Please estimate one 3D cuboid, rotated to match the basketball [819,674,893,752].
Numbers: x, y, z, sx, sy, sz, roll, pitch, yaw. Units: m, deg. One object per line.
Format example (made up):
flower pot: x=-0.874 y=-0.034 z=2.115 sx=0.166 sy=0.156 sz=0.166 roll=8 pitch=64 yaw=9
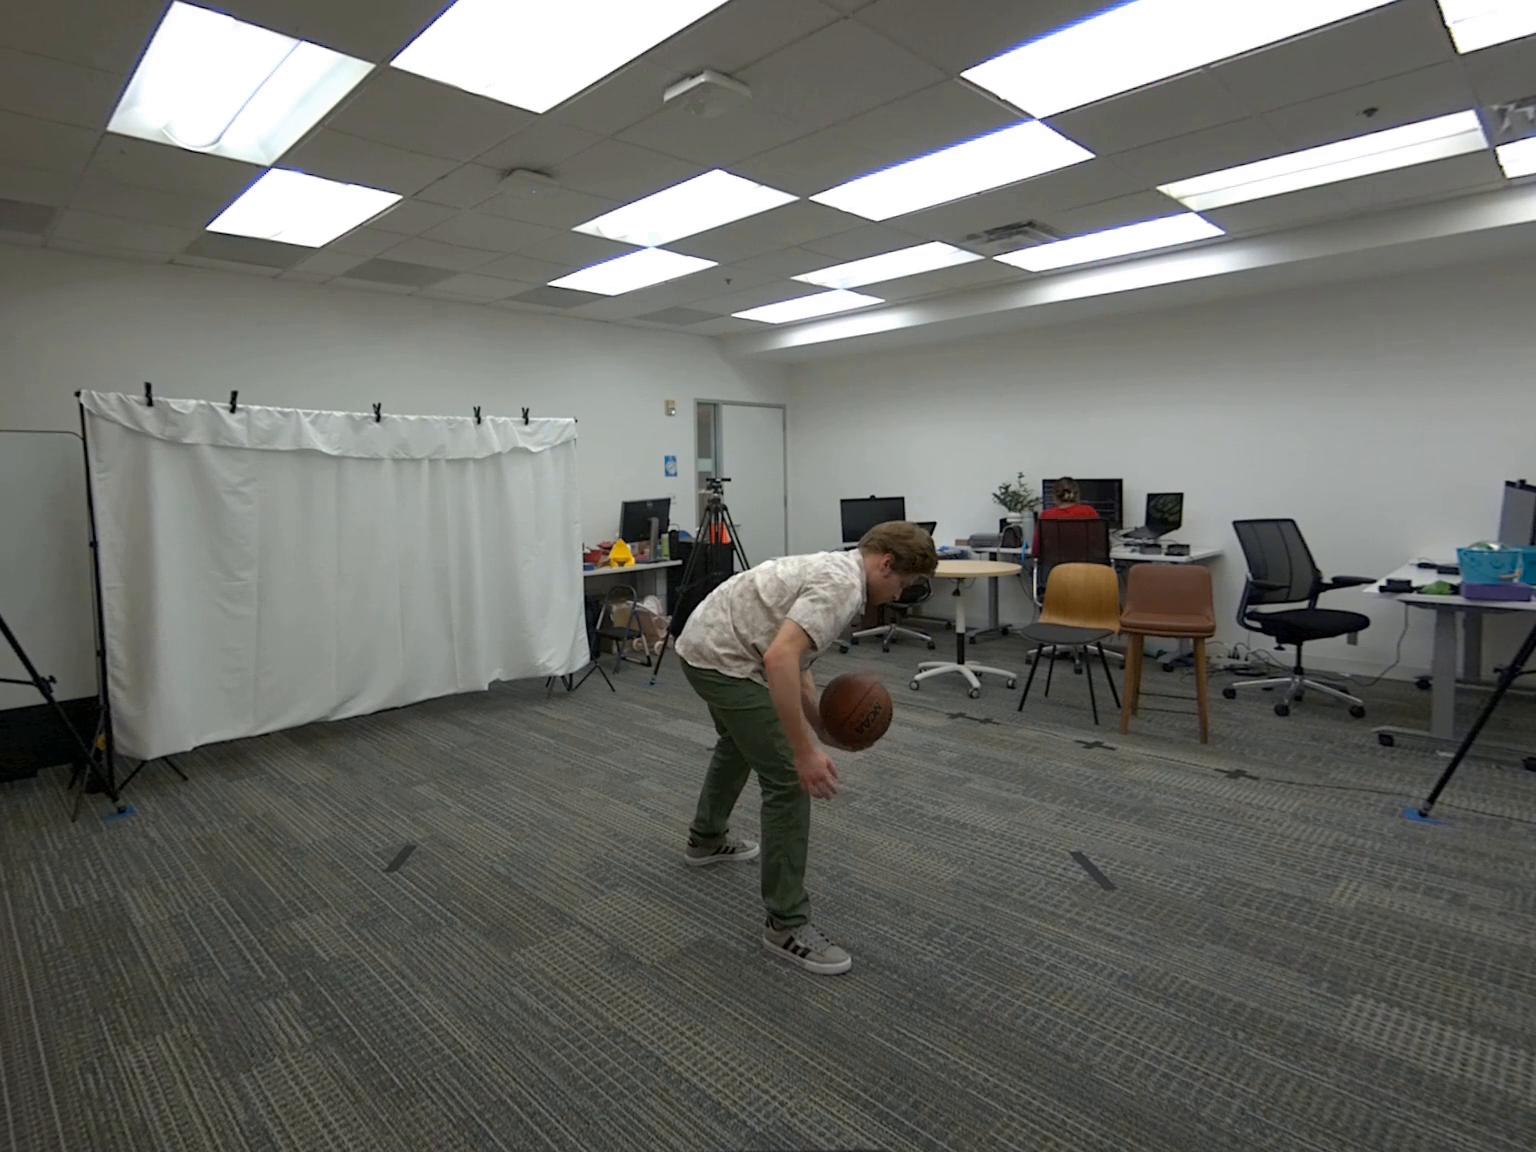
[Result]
basketball: x=0.285 y=0.435 z=2.787 sx=0.236 sy=0.235 sz=0.237 roll=-1 pitch=5 yaw=-2
